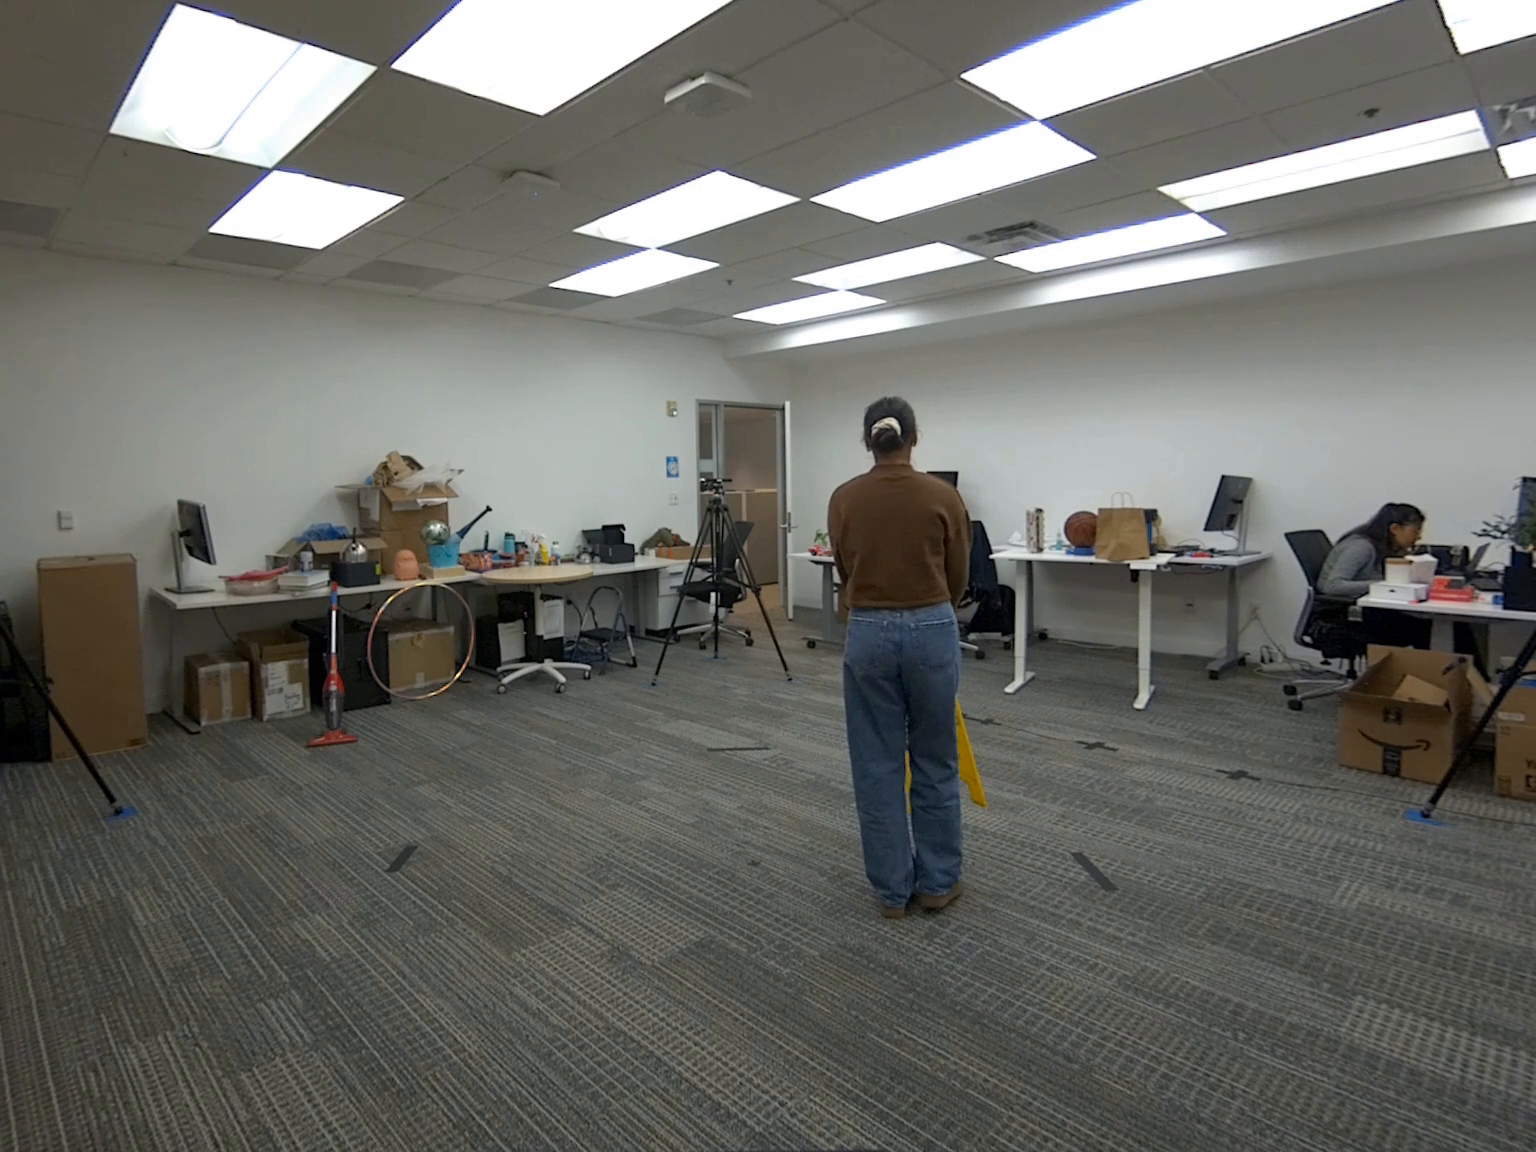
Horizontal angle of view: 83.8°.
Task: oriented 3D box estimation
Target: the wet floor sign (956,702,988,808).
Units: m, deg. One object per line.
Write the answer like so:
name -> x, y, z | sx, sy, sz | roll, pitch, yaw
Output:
wet floor sign -> 0.591, 0.500, 3.089 | 0.285, 0.647, 0.286 | -3, -1, -17
